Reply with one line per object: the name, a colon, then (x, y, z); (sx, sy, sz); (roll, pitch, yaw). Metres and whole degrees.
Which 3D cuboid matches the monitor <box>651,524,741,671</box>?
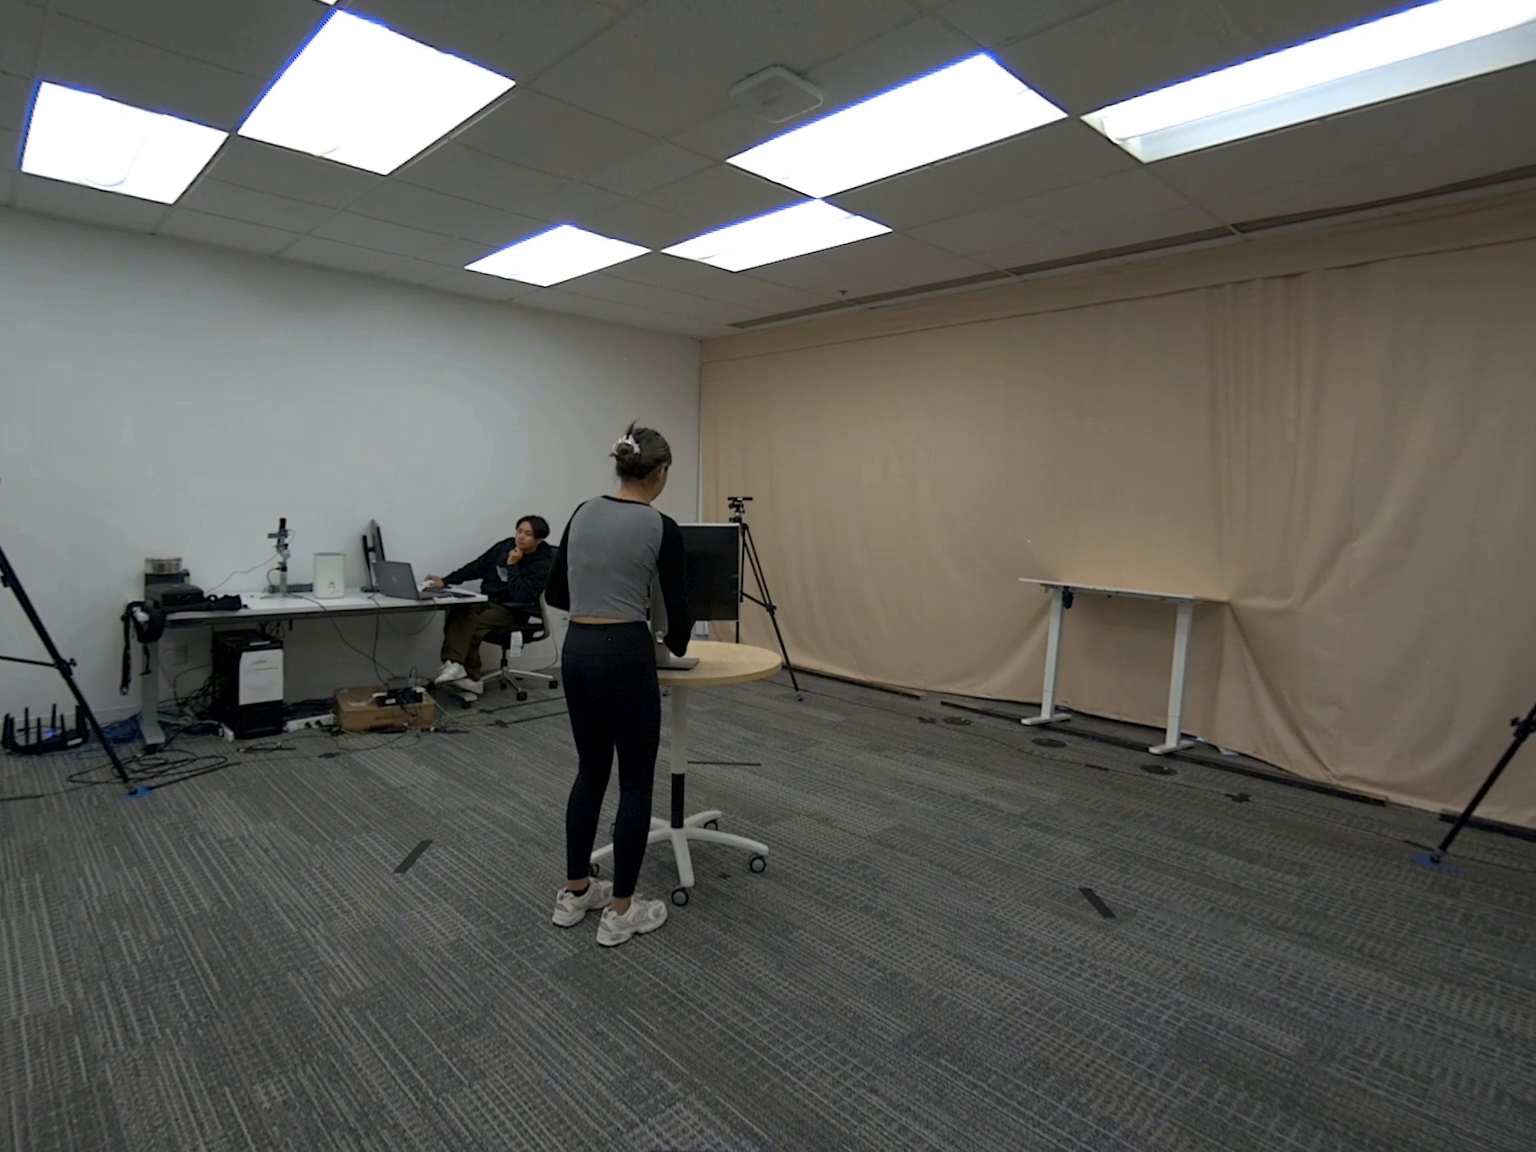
monitor: (-0.378, 0.074, 3.006); (0.538, 0.522, 0.188); (0, 2, -3)
